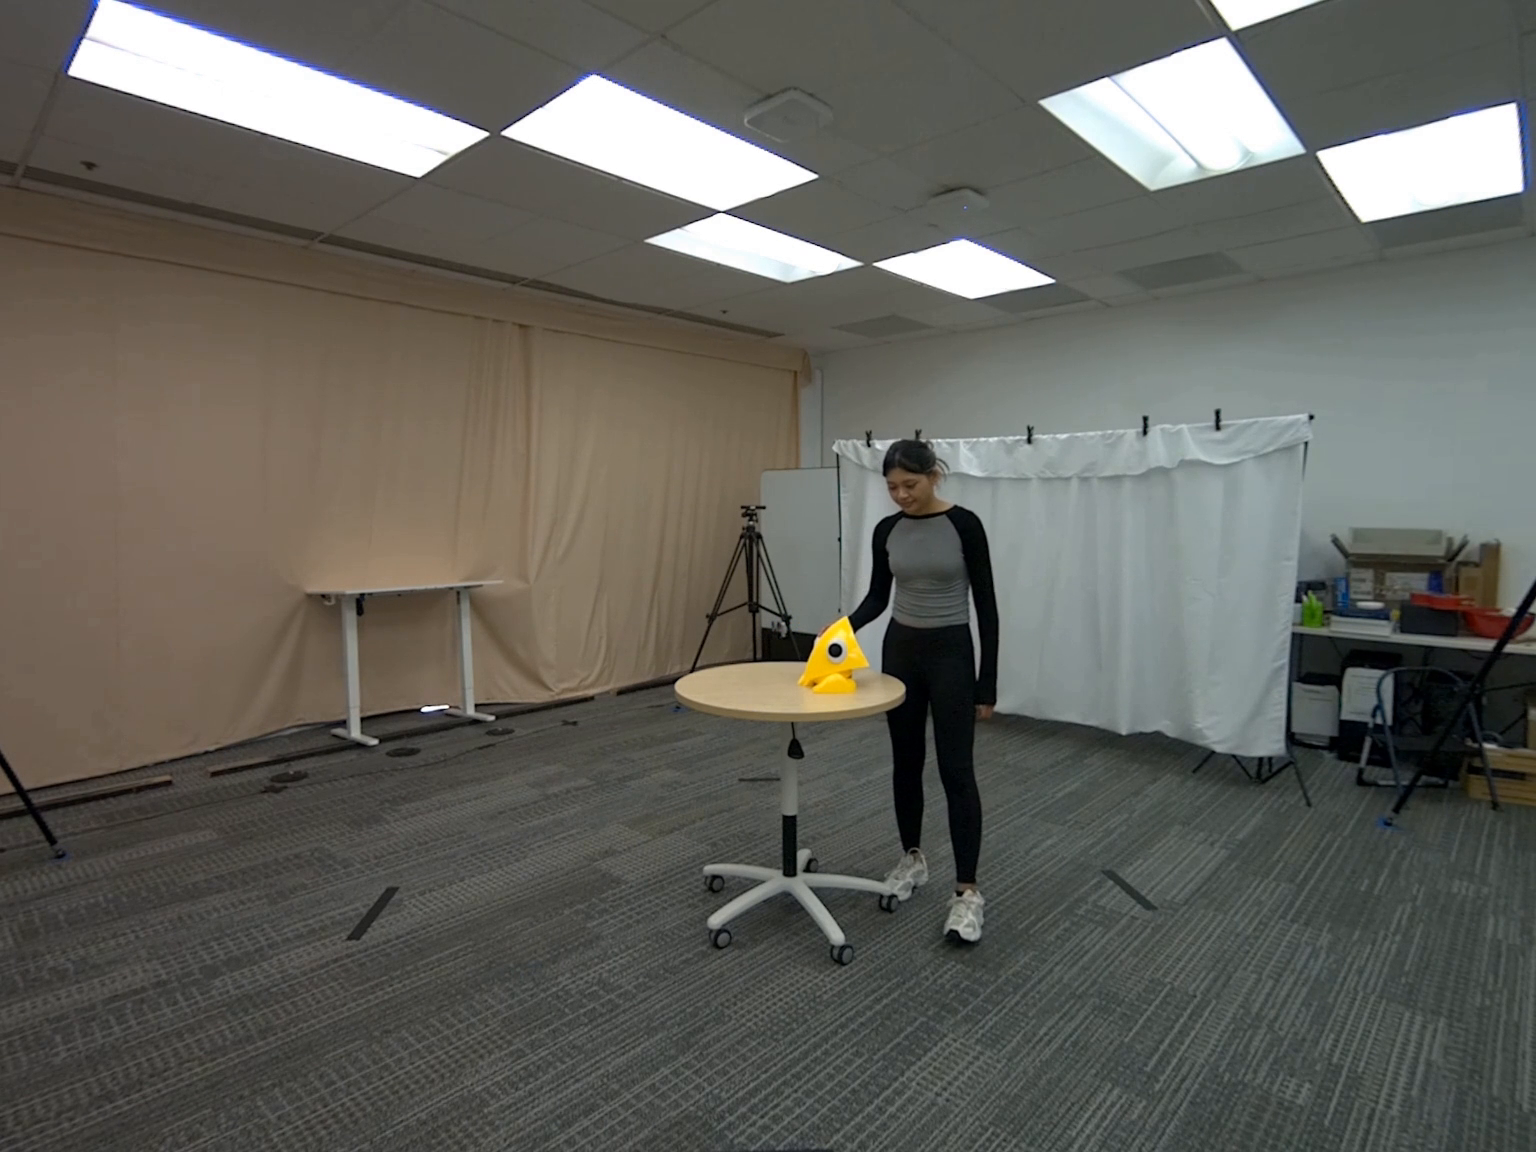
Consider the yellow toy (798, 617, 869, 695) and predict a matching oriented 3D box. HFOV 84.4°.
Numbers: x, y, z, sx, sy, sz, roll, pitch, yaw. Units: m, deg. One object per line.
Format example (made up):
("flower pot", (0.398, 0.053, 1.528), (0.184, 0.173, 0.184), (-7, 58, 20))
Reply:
("yellow toy", (0.209, 0.253, 2.778), (0.189, 0.230, 0.209), (-2, 5, -20))
